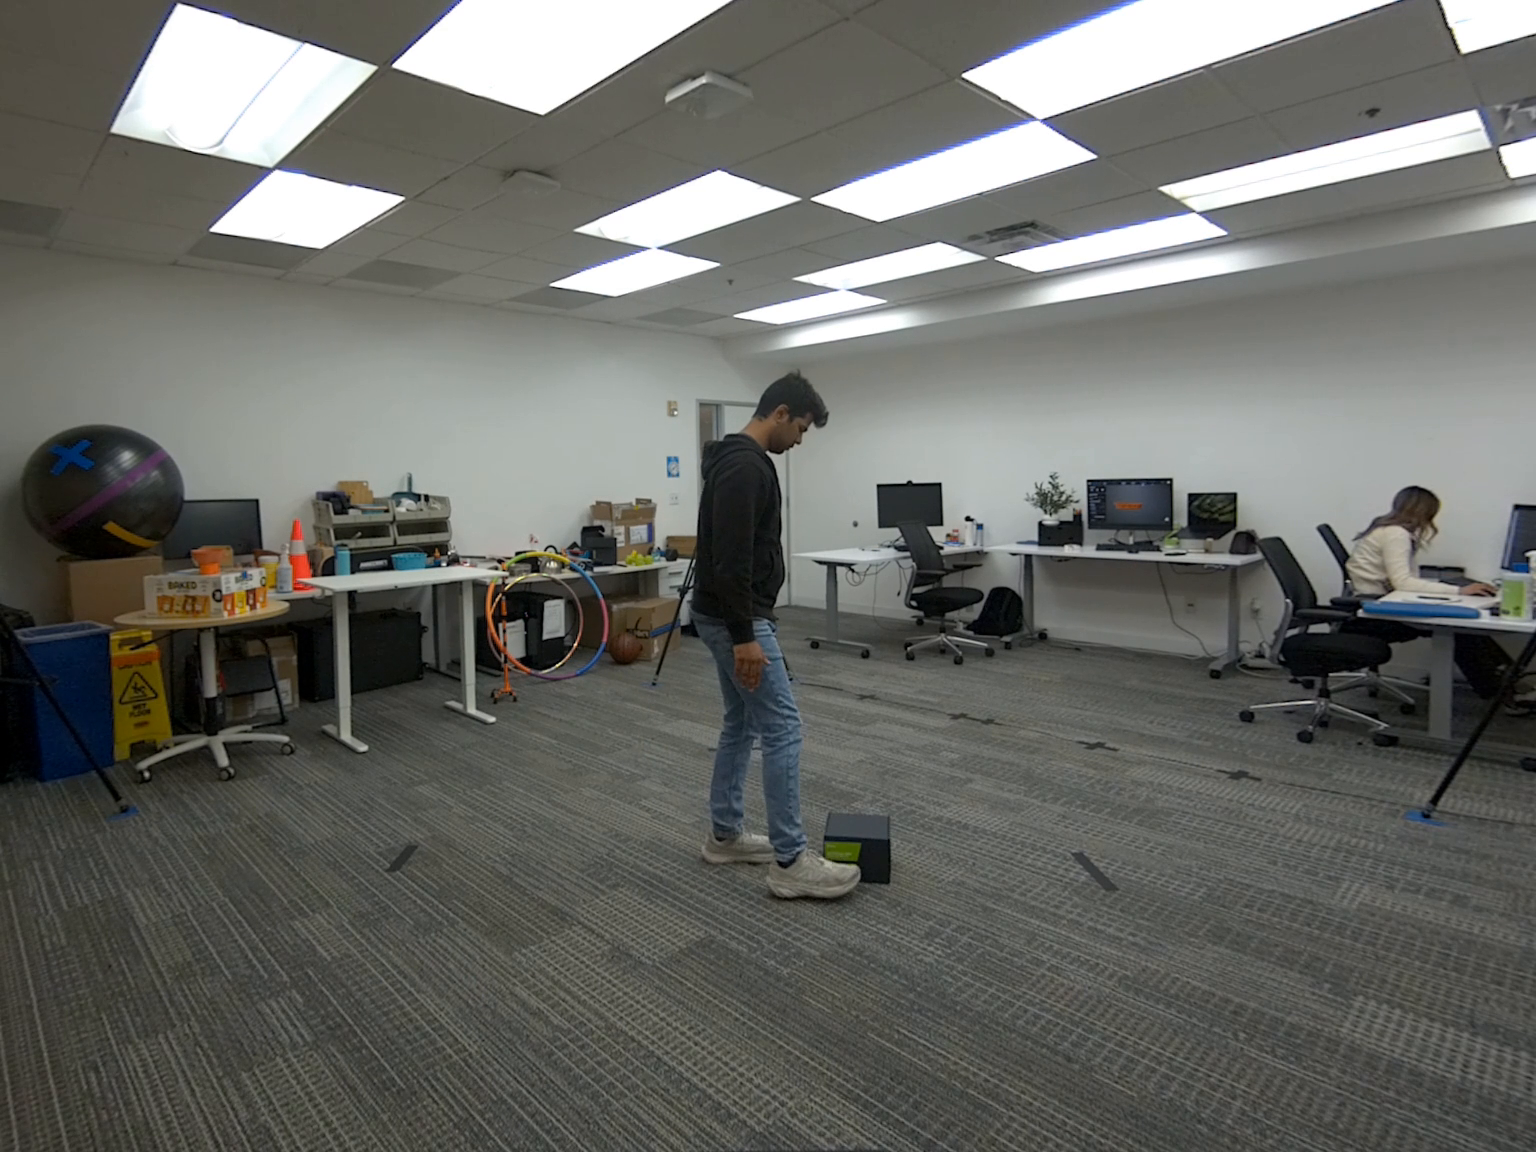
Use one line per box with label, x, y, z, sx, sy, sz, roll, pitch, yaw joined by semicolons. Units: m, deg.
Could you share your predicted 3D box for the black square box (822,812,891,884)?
black square box;0.324;0.956;3.056;0.230;0.155;0.216;0;6;10
